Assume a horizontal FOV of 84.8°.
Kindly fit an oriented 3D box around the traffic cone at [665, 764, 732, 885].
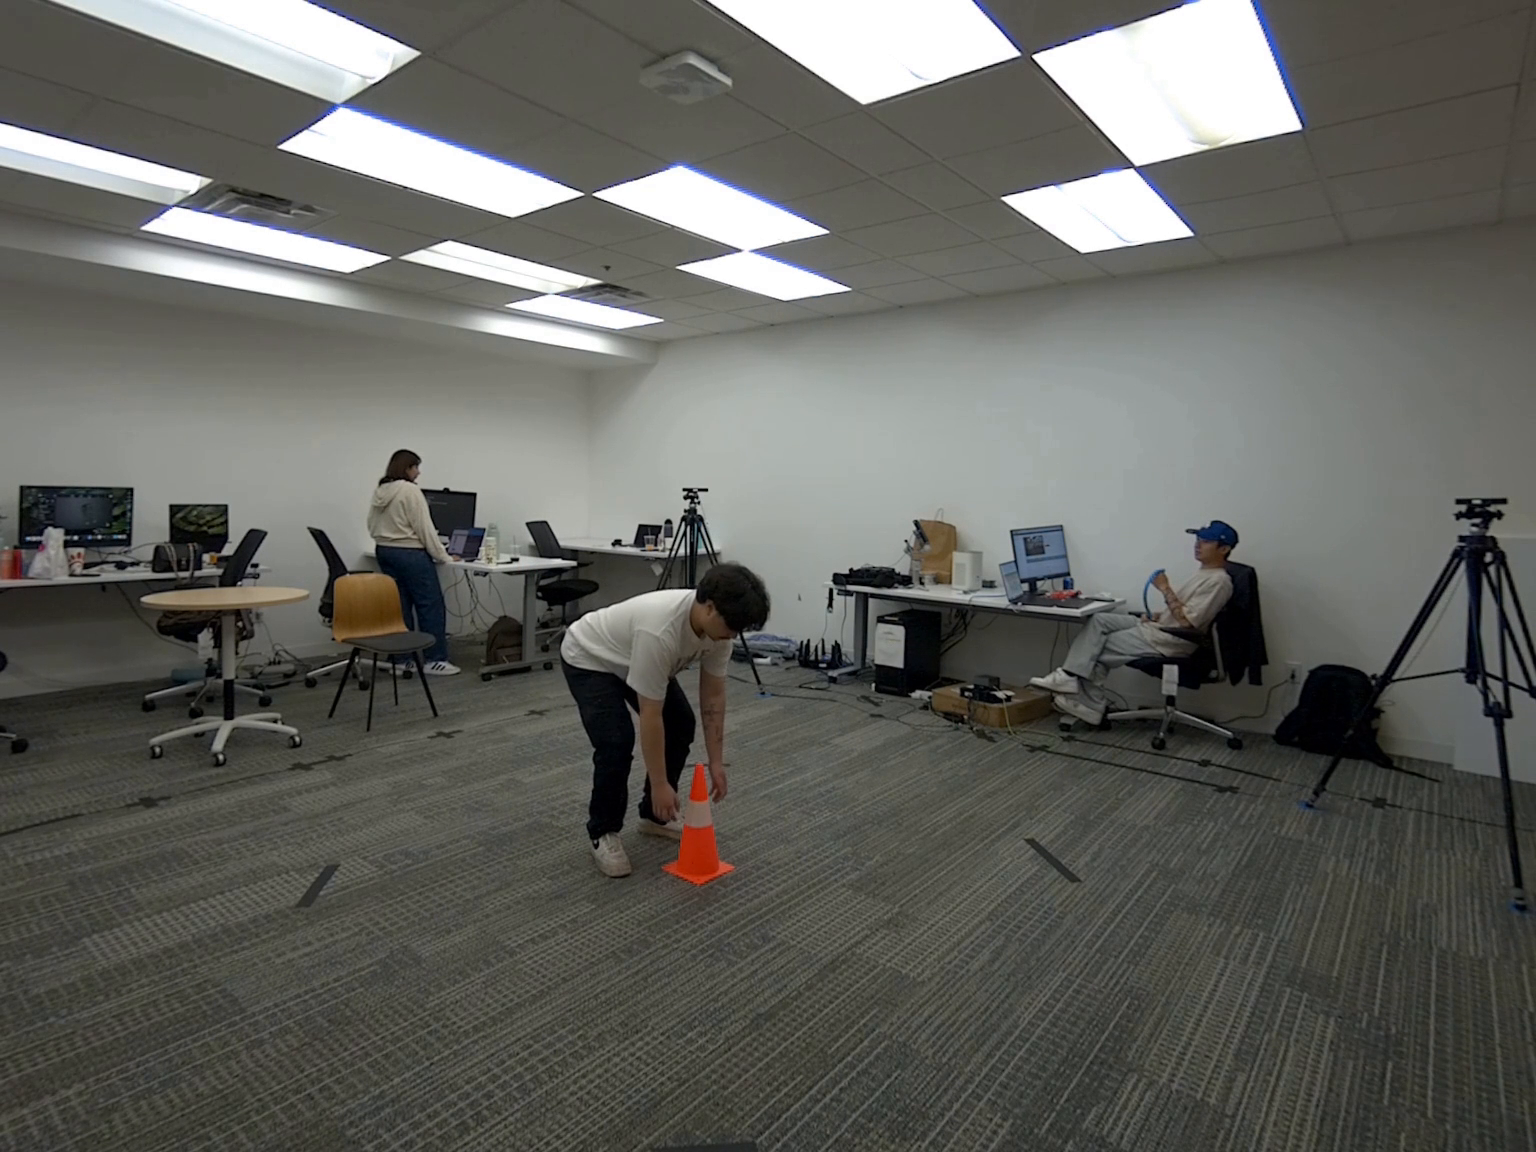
[{"bbox_3d":[-0.263,0.883,3.126,0.210,0.384,0.198,1,-1,36],"label":"traffic cone"}]
